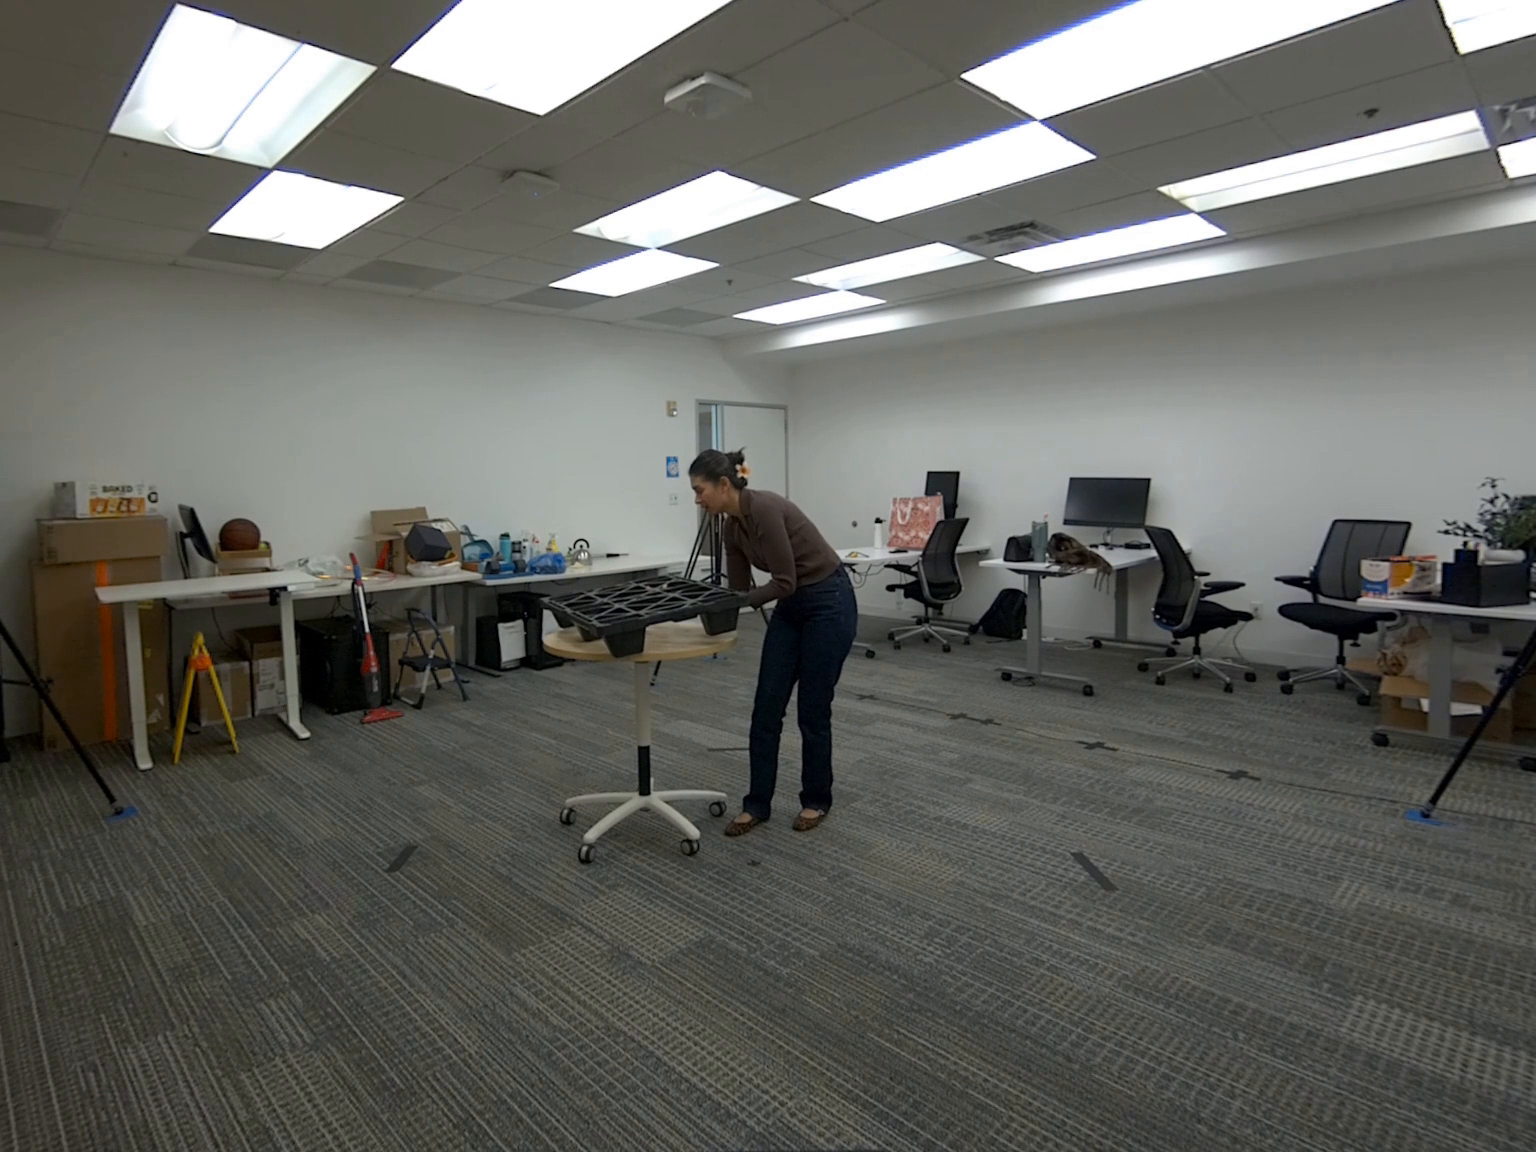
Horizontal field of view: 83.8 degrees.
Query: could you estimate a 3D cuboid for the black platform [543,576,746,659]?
[{"bbox_3d":[-0.515,0.148,3.373,0.593,0.142,0.827,-11,10,-27],"label":"black platform"}]
